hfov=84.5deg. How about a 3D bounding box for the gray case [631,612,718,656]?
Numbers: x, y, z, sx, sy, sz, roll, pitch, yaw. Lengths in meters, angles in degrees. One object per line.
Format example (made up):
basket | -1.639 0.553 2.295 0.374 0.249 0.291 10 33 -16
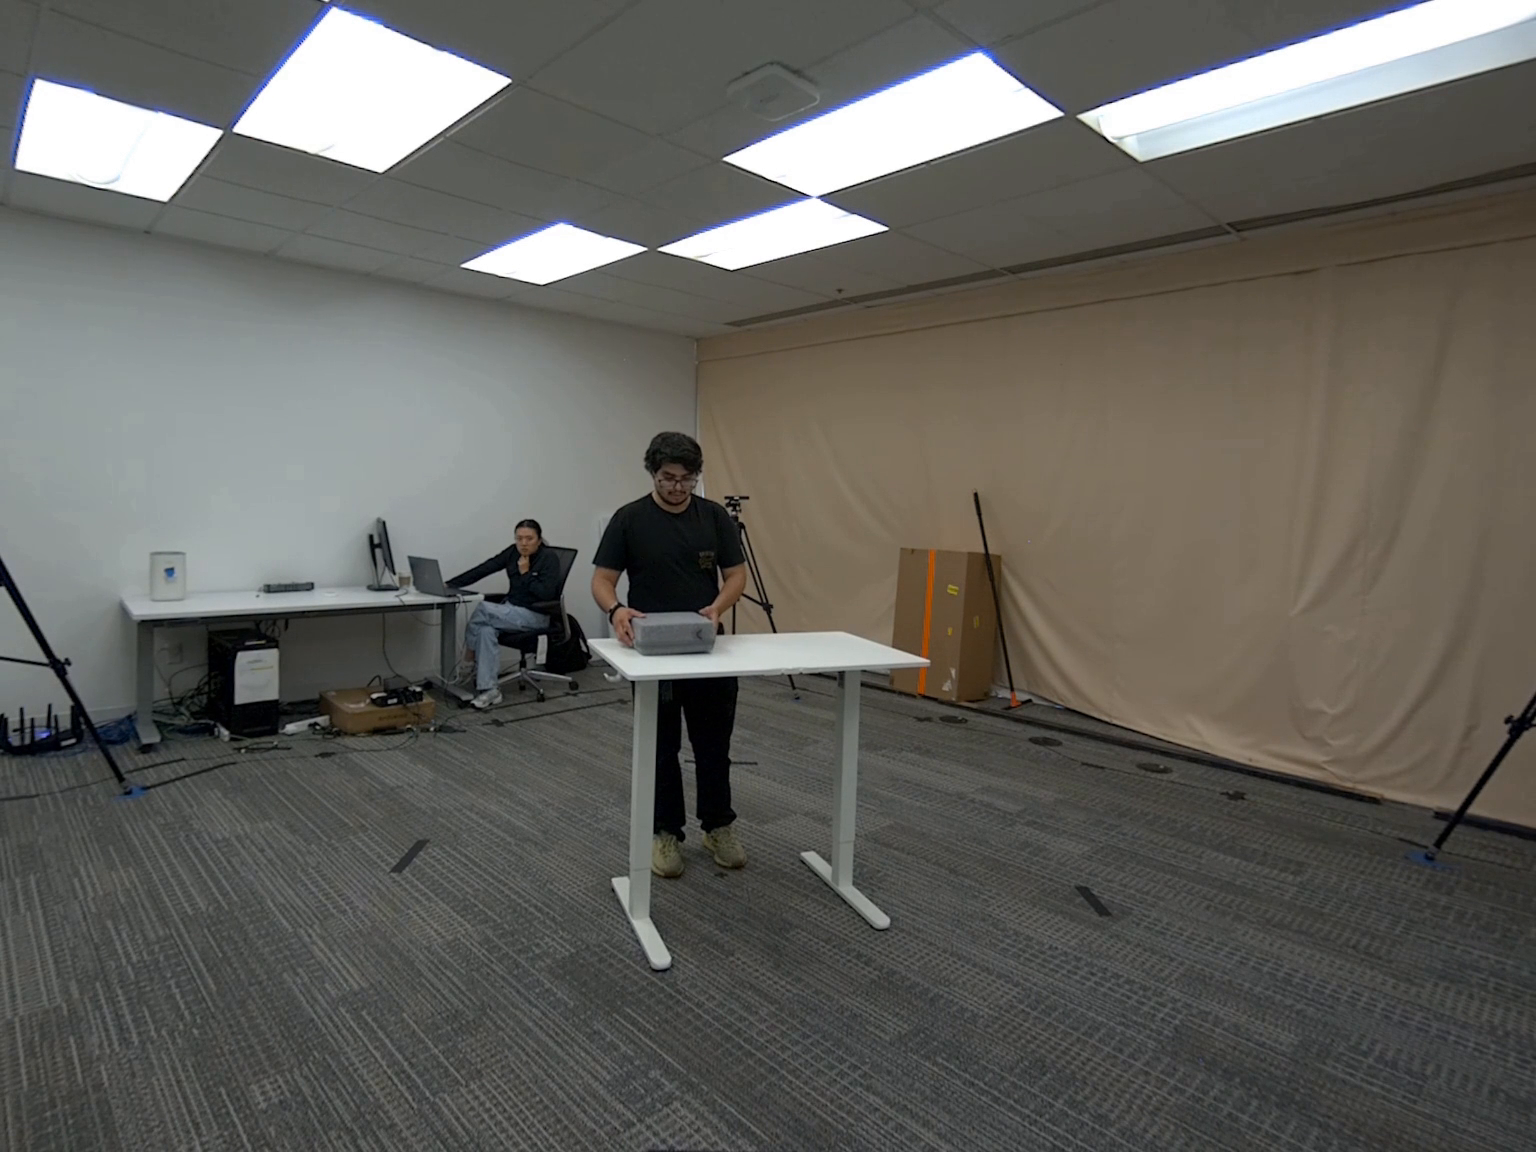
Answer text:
gray case | -0.336 0.191 2.780 0.257 0.104 0.261 2 8 -17
